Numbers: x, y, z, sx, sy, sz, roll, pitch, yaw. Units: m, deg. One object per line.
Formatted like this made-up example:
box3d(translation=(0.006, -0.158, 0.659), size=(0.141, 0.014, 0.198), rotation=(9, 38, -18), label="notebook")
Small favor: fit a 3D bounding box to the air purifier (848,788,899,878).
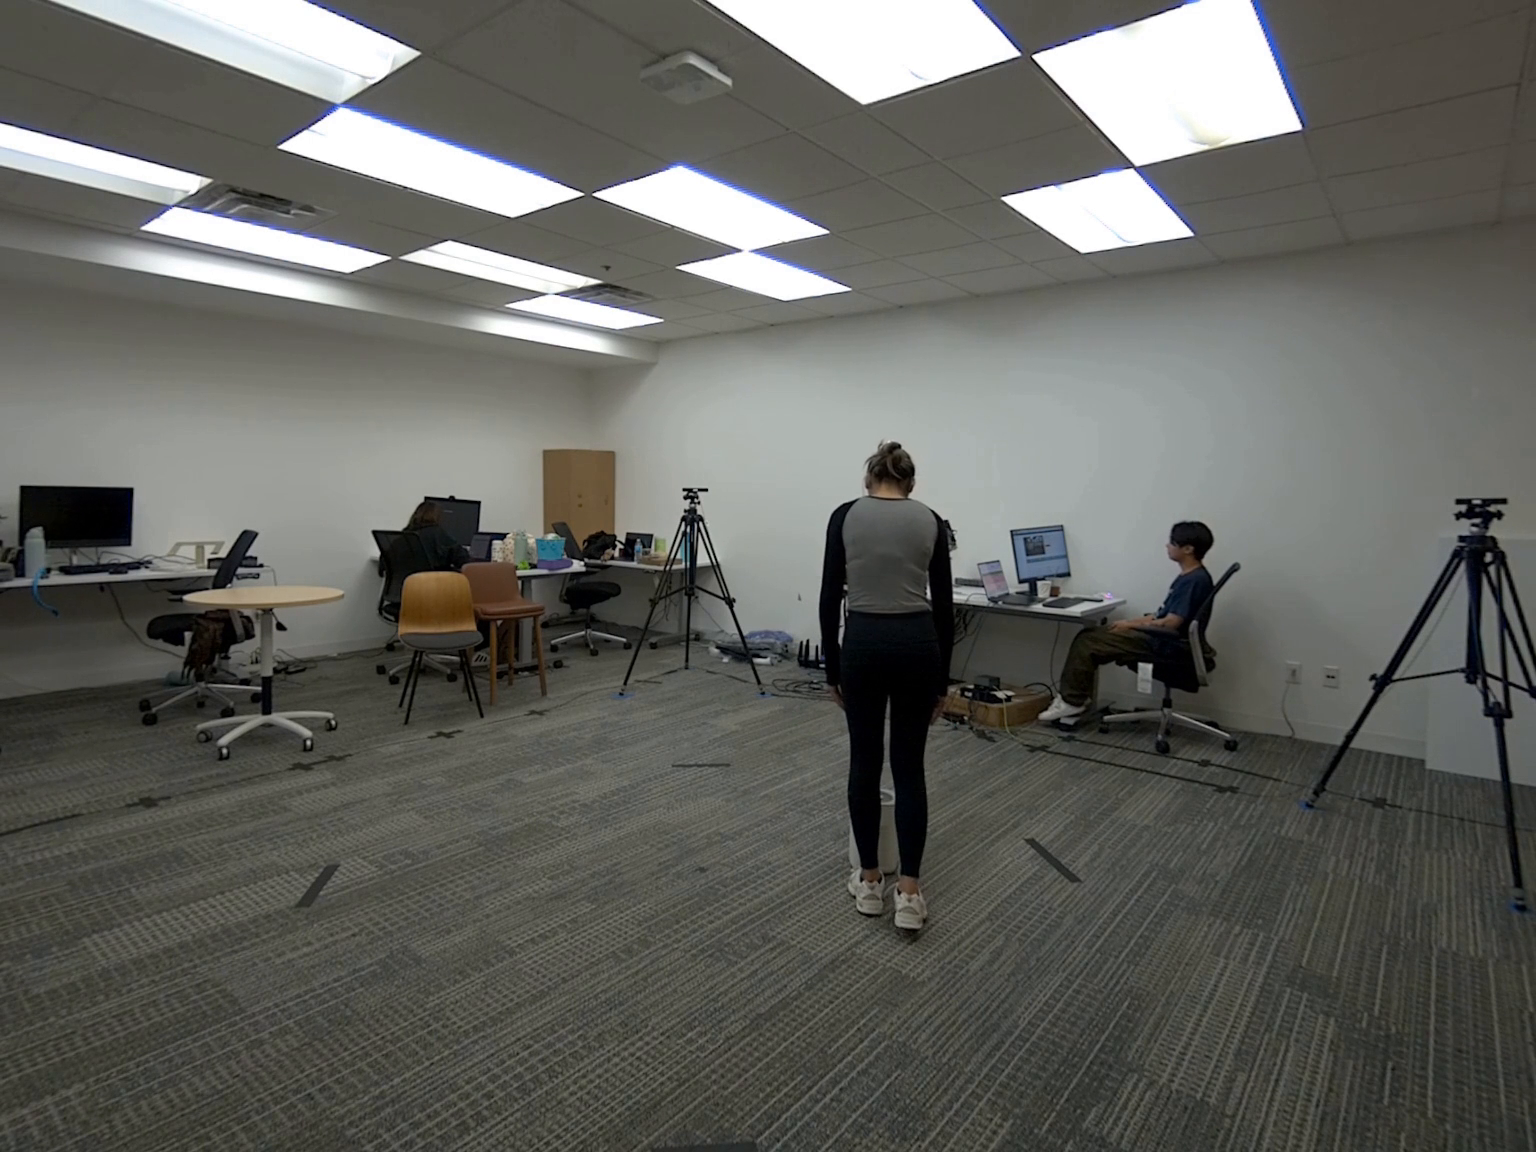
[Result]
box3d(translation=(0.384, 0.935, 3.156), size=(0.172, 0.265, 0.171), rotation=(0, 3, 3), label="air purifier")
